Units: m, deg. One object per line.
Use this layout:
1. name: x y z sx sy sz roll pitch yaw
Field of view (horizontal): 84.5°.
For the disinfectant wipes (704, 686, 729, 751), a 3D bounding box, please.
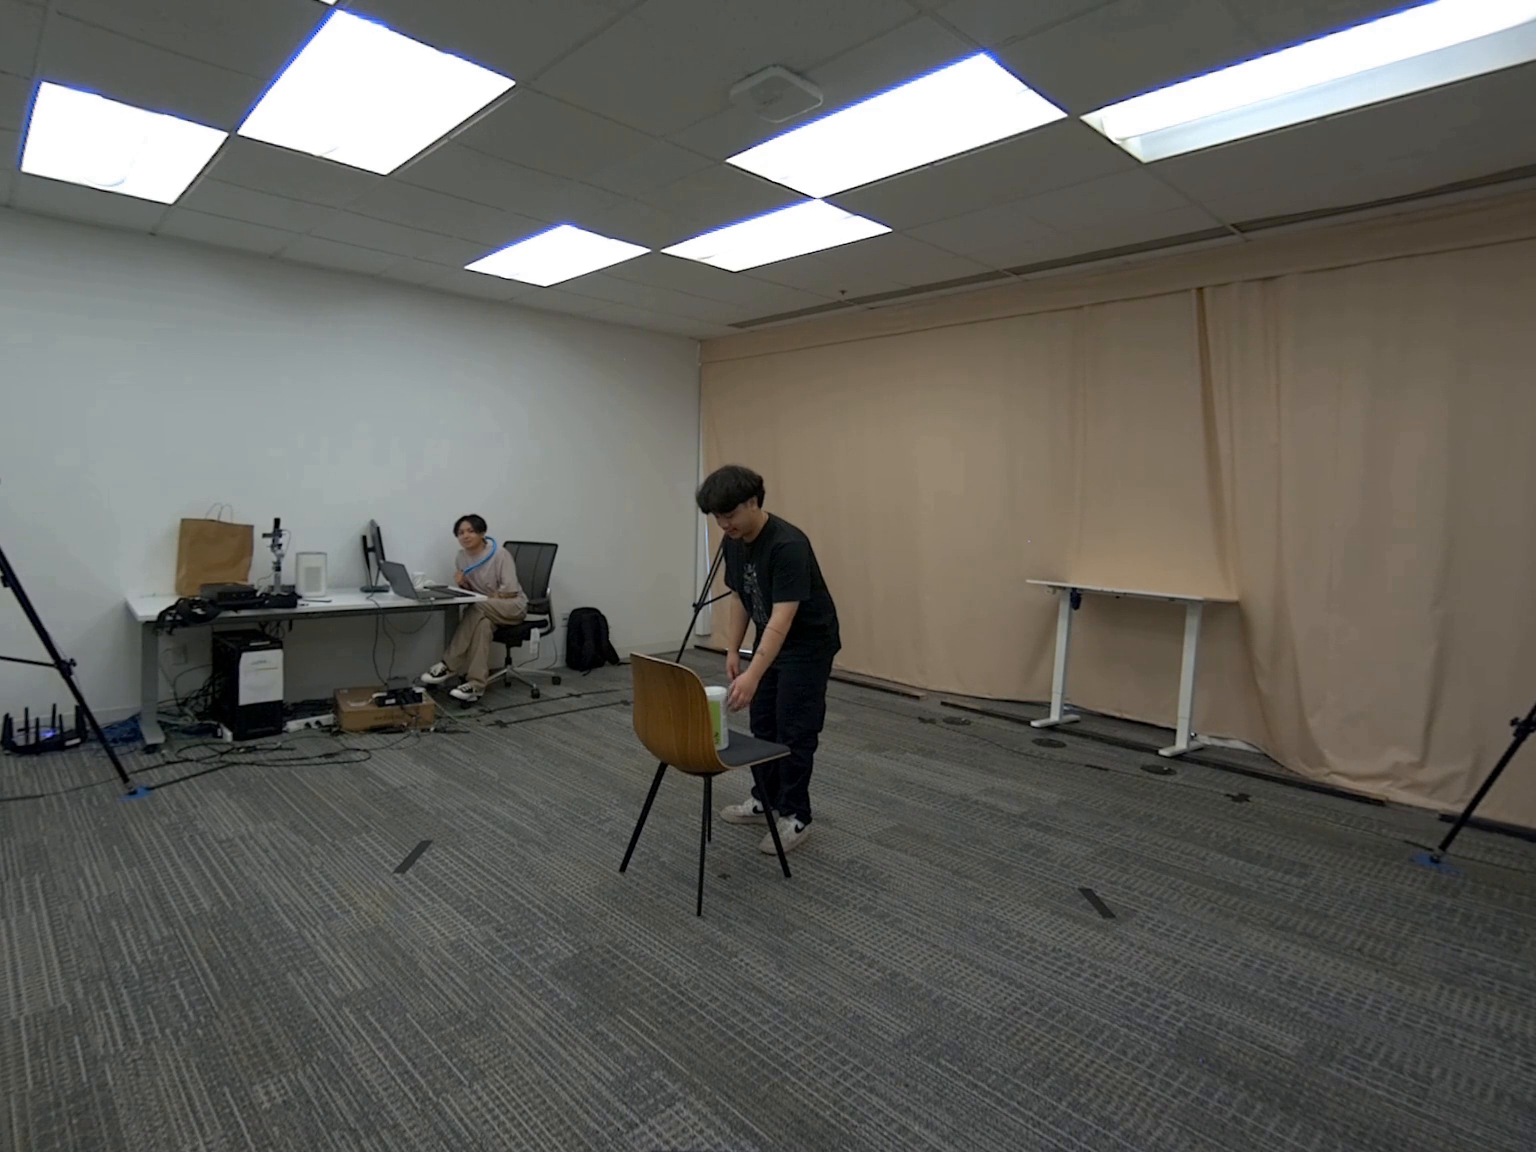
1. disinfectant wipes: -0.207 0.528 3.101 0.118 0.217 0.118 -1 4 -1
